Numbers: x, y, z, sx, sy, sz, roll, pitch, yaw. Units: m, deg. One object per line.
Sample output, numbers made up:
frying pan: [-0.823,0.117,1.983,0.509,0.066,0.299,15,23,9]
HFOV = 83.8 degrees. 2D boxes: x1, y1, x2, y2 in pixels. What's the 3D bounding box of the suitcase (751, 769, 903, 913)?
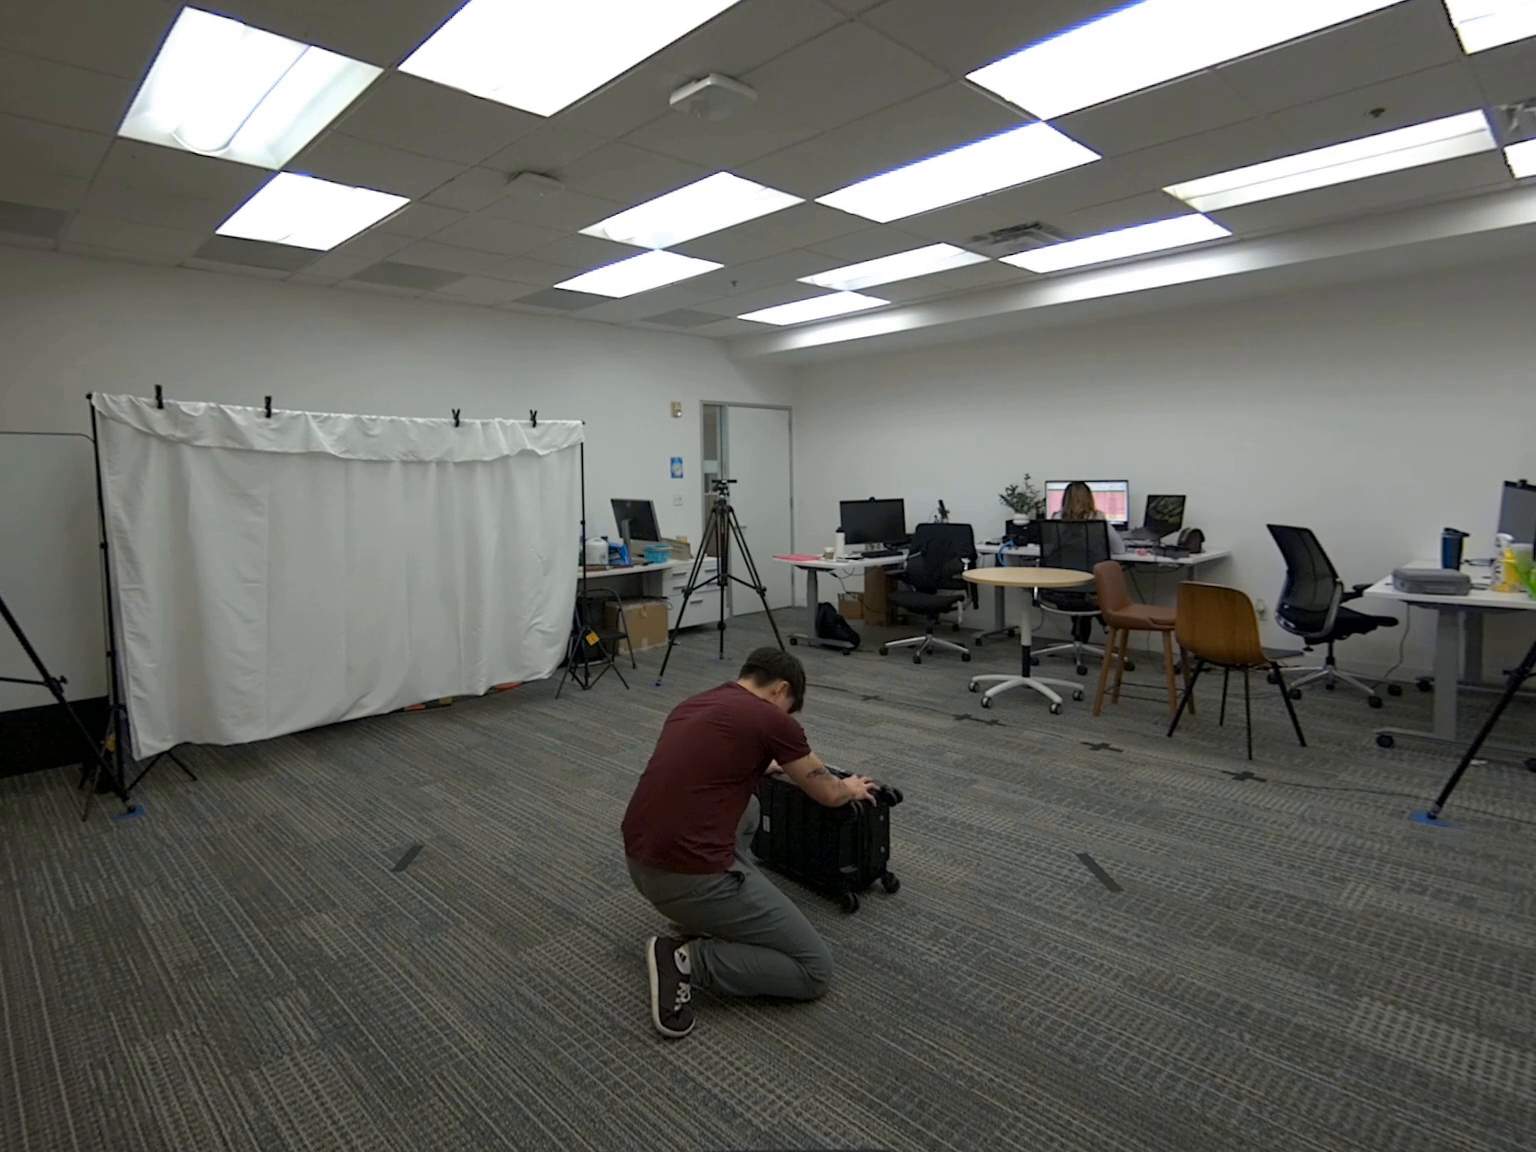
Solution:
suitcase: [0.040,0.856,3.171,0.250,0.383,1.008,-1,4,-42]
